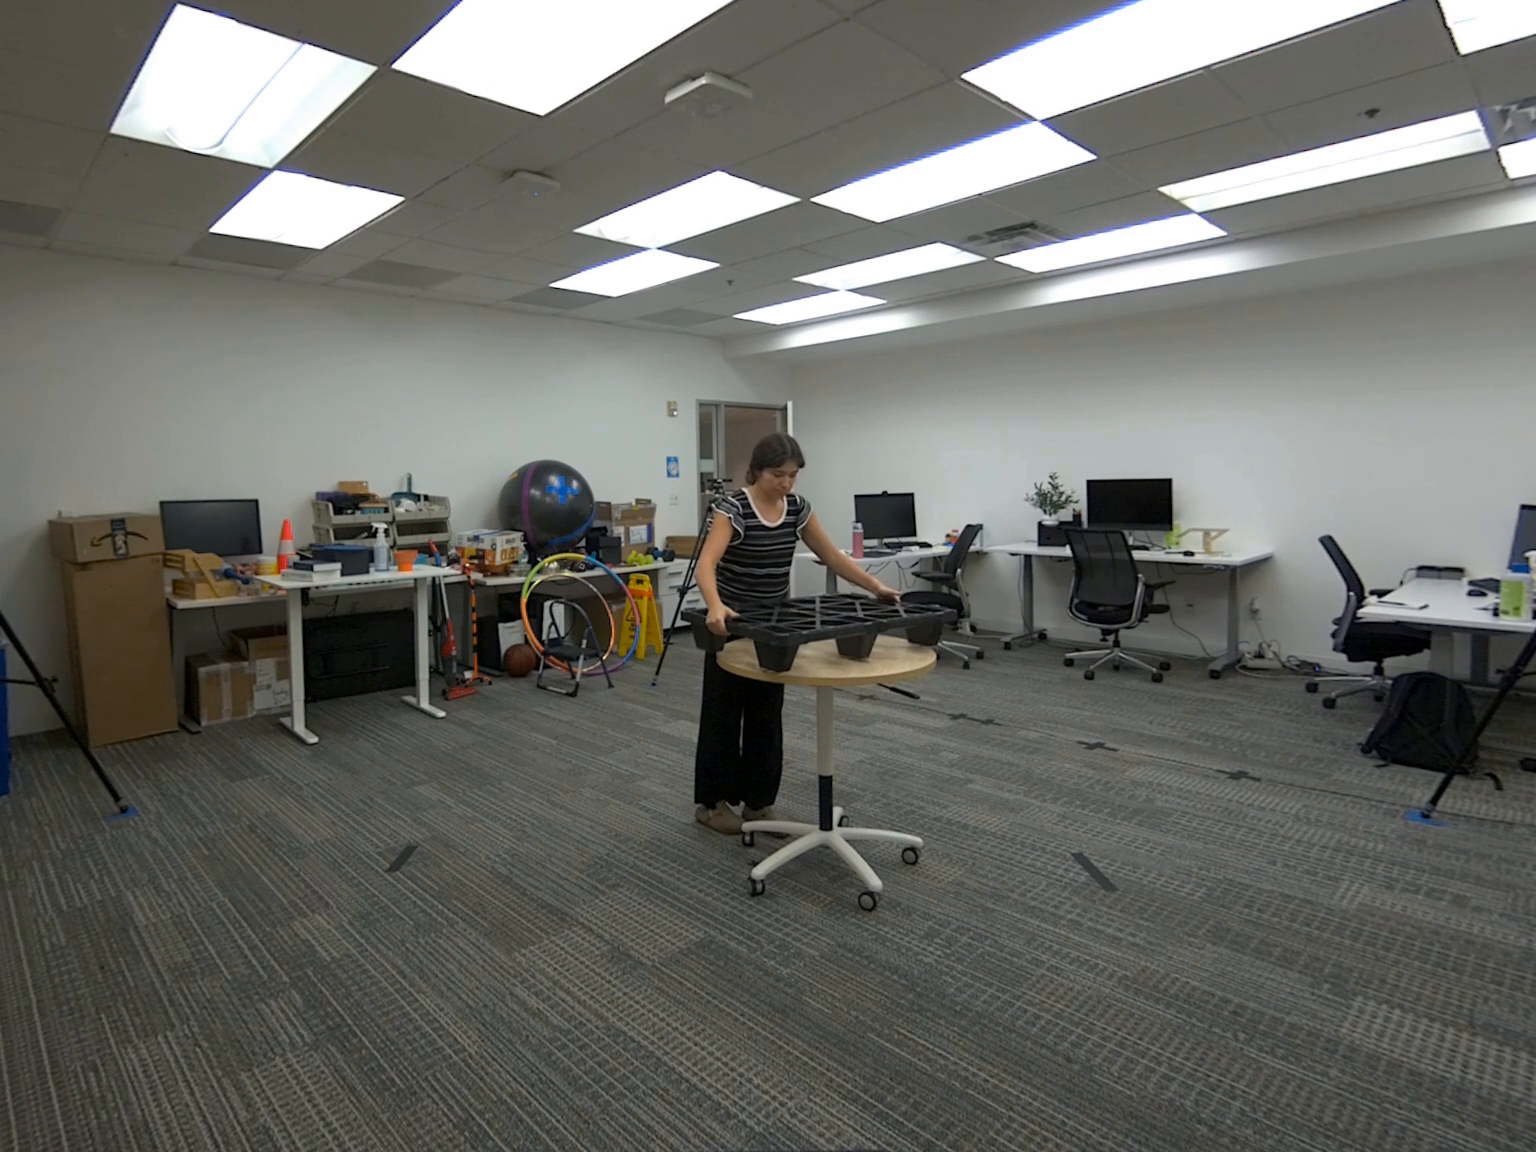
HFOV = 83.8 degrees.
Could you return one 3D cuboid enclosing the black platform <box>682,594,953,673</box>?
[{"bbox_3d":[0.183,0.190,3.039,0.785,0.142,0.624,-5,8,-35],"label":"black platform"}]
